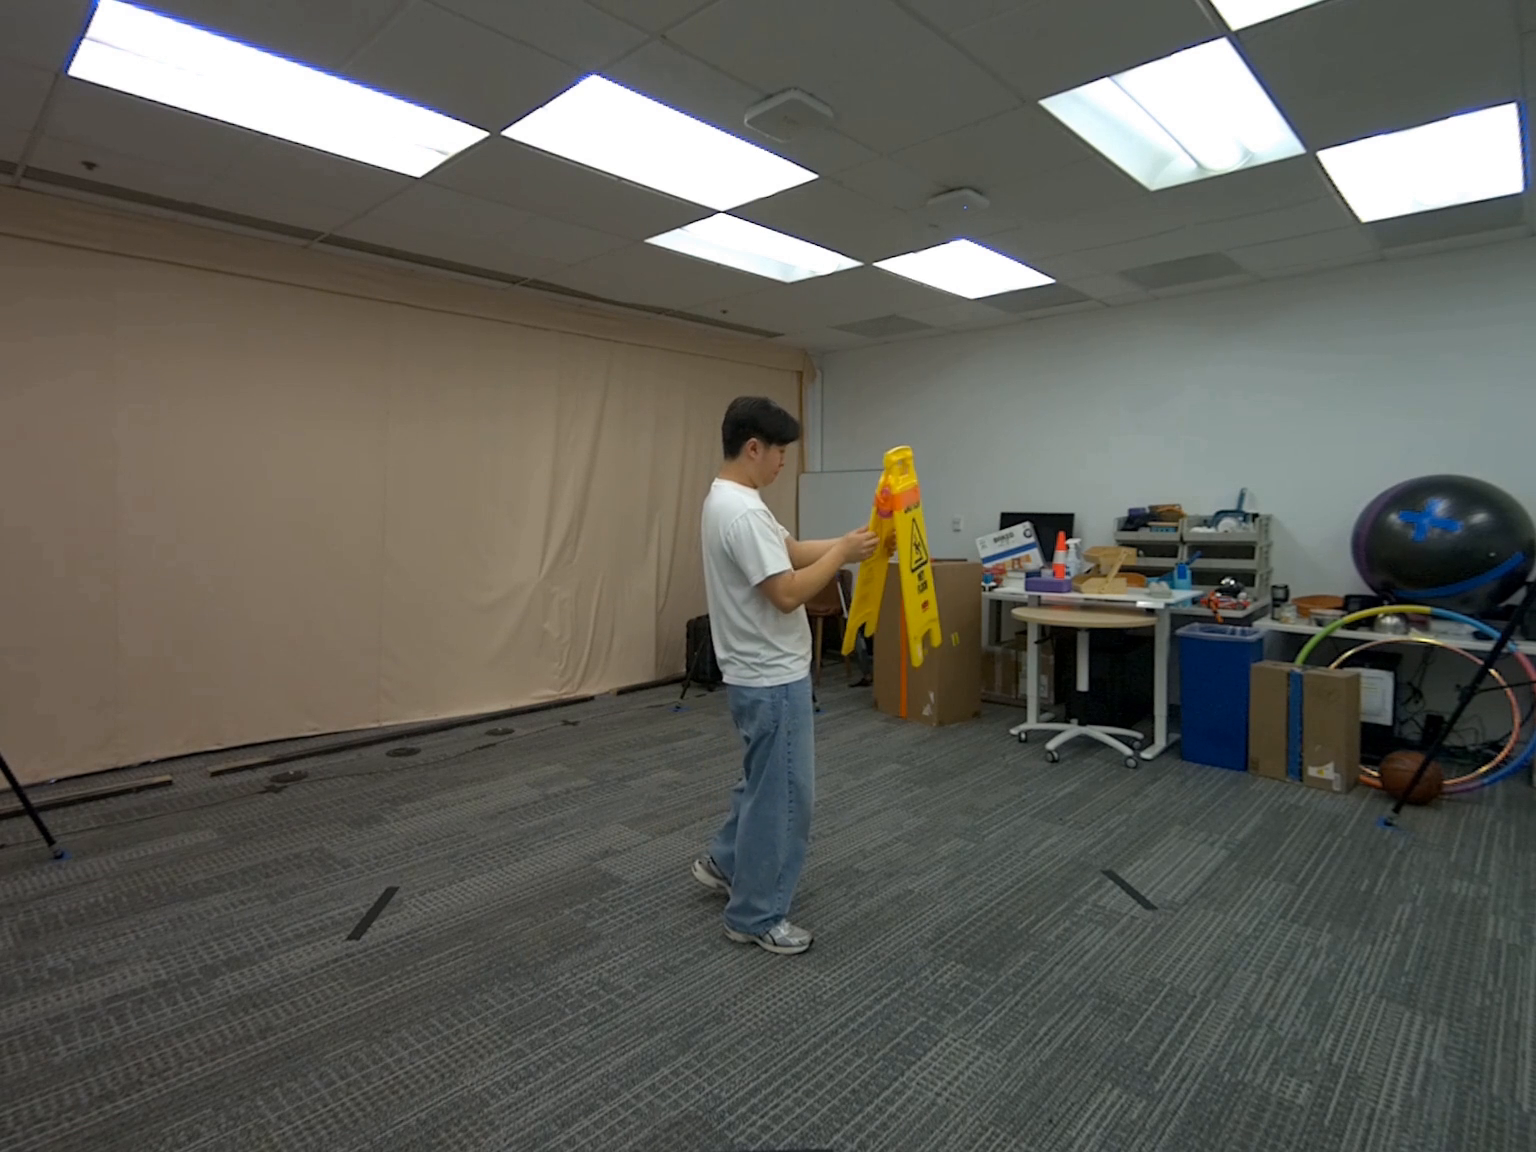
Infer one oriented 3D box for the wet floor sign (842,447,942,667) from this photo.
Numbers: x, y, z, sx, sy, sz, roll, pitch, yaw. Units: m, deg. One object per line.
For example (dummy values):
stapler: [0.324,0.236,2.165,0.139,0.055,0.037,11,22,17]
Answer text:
wet floor sign: [0.404,-0.079,2.664,0.298,0.641,0.276,6,14,27]
